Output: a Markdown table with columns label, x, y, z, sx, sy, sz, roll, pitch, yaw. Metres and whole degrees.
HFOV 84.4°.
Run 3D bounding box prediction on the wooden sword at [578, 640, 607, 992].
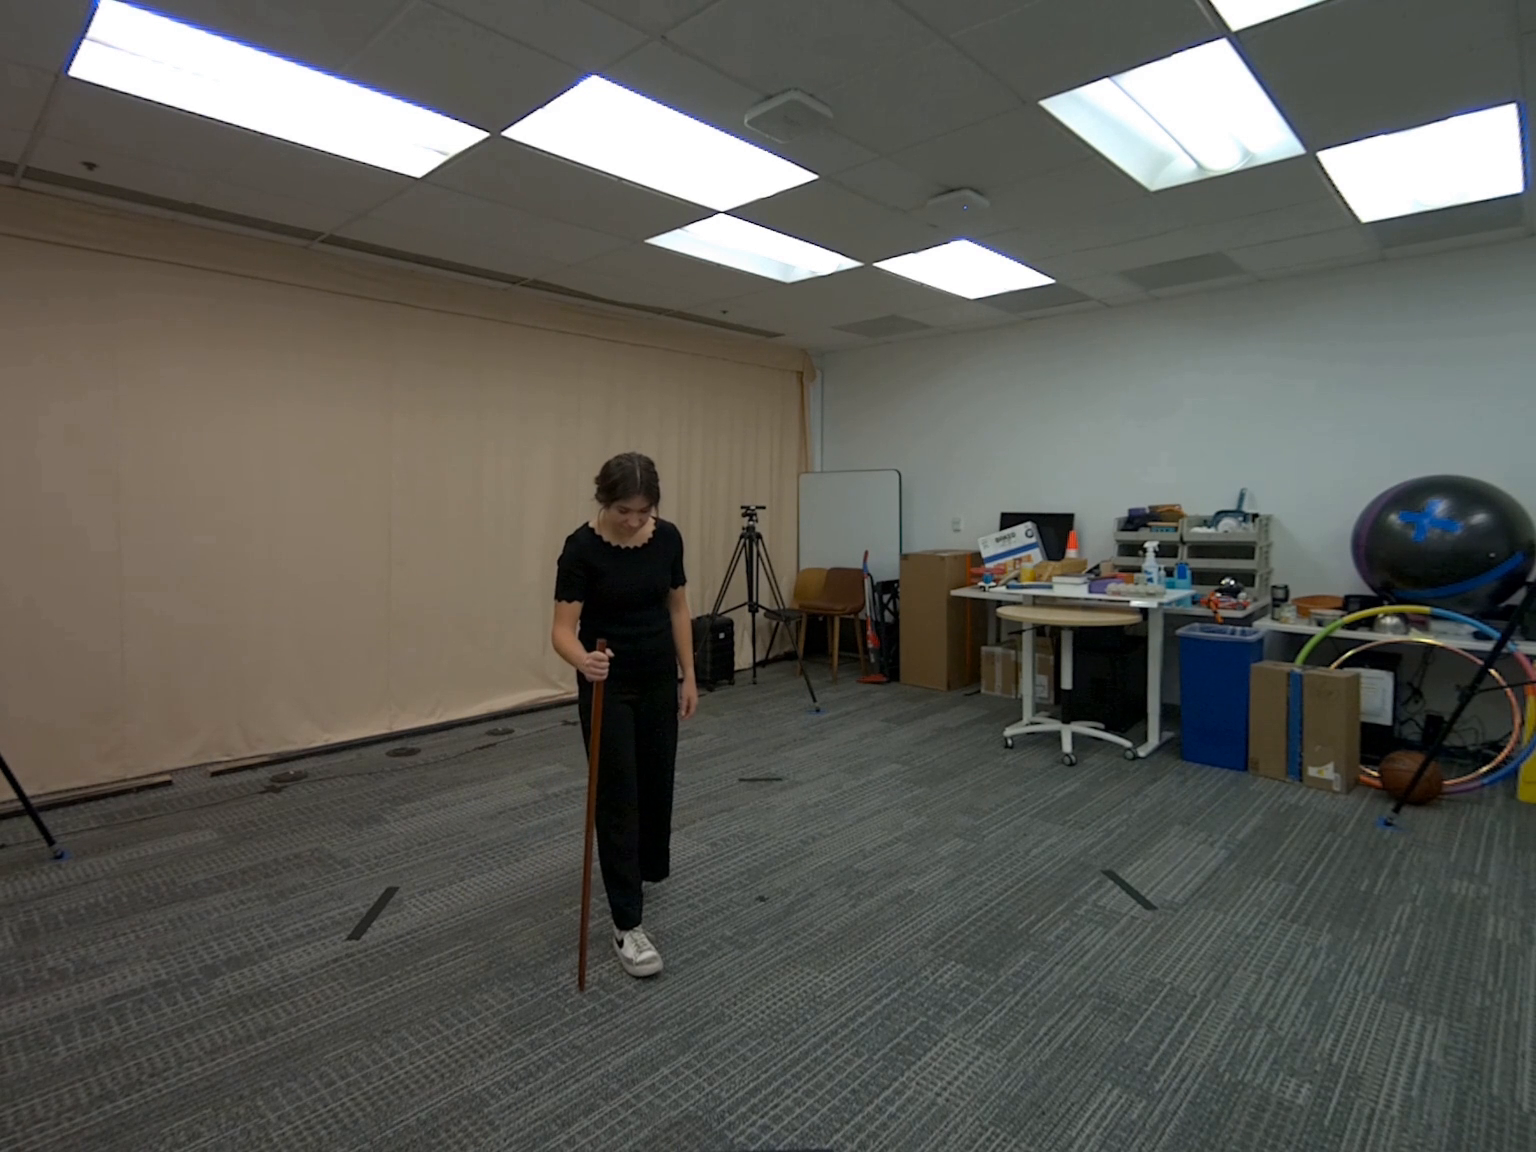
| label | x | y | z | sx | sy | sz | roll | pitch | yaw |
| --- | --- | --- | --- | --- | --- | --- | --- | --- | --- |
| wooden sword | -0.502 | 0.694 | 2.385 | 0.023 | 1.021 | 0.053 | 2 | 7 | -27 |
